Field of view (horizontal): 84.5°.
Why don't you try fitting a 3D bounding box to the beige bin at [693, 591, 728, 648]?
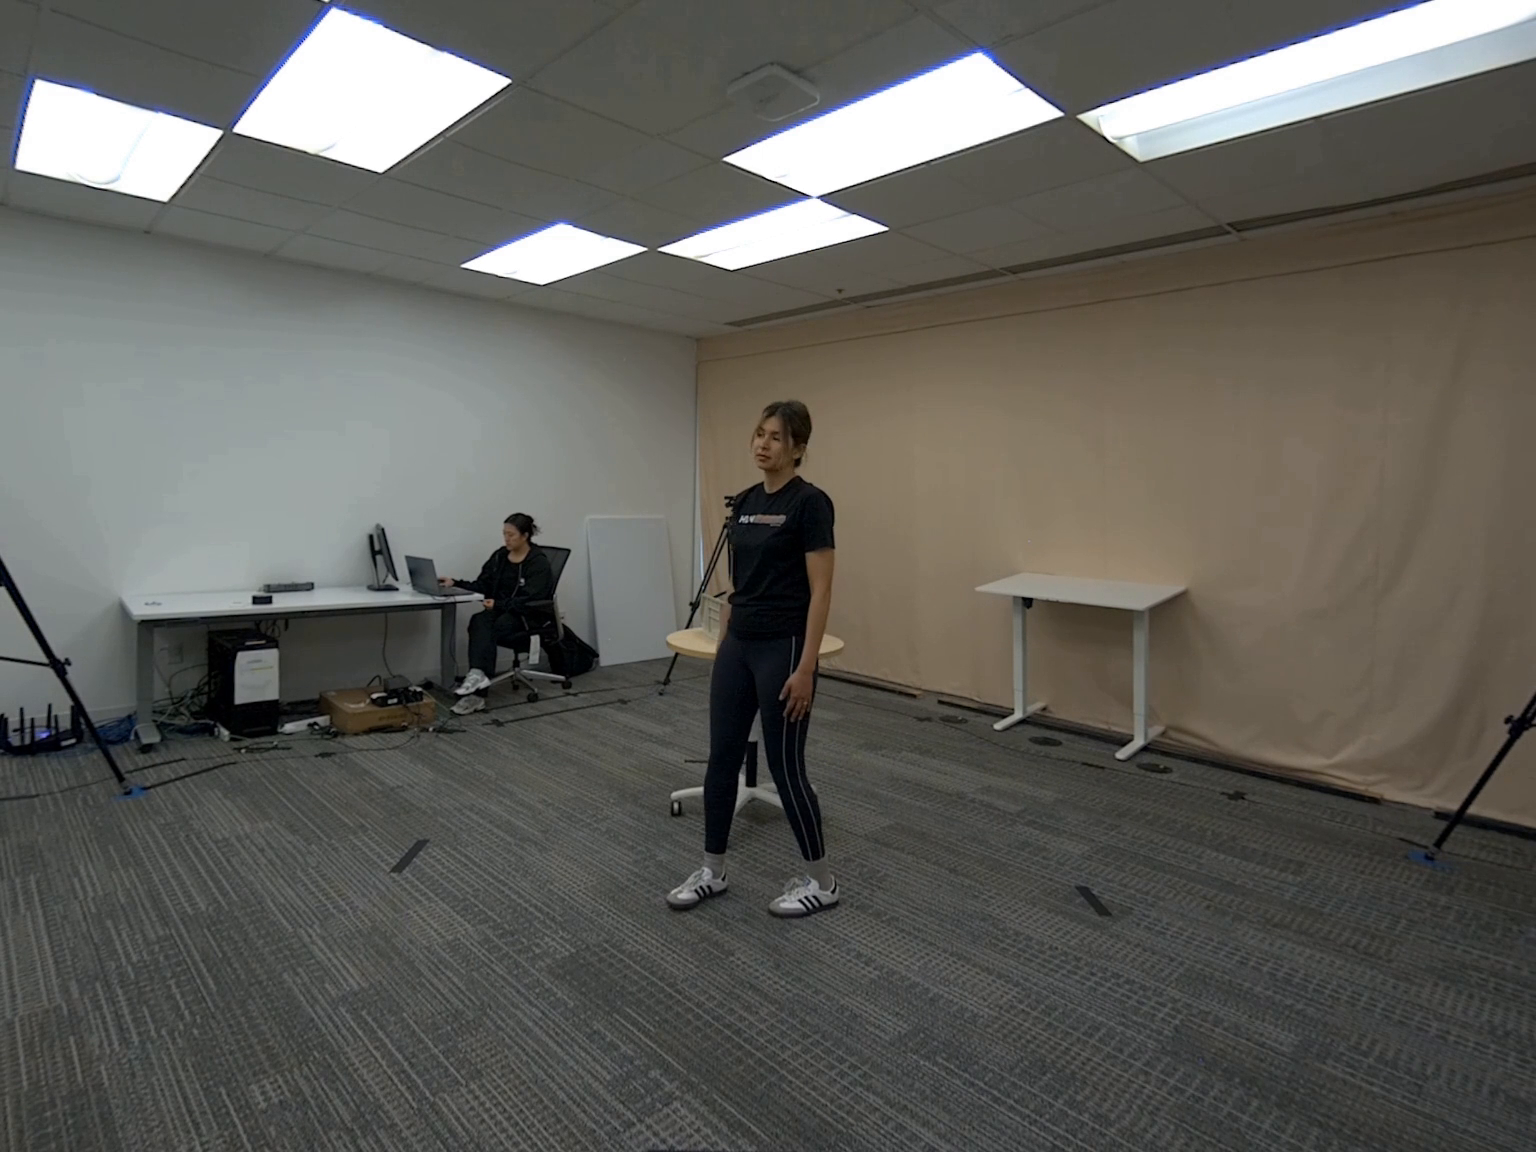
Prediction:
[{"bbox_3d":[-0.069,0.183,3.705,0.416,0.188,0.384,1,6,-20],"label":"beige bin"}]
